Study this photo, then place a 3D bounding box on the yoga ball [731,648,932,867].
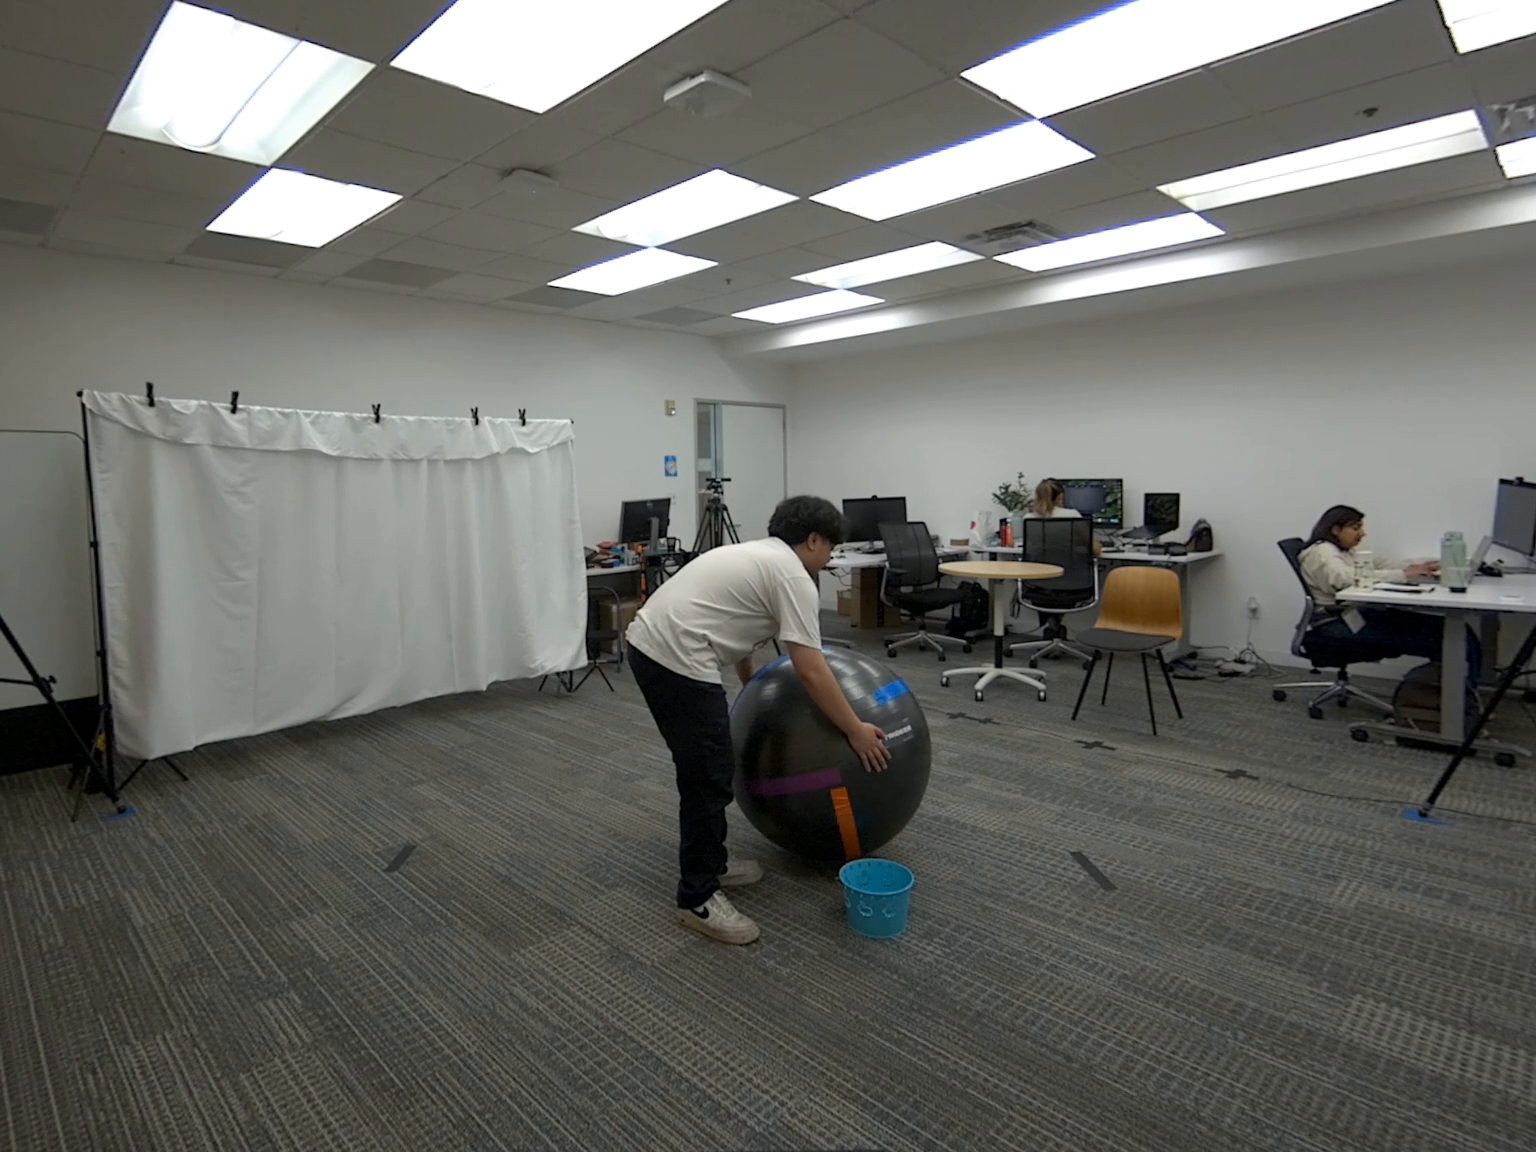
[{"bbox_3d":[0.219,0.640,3.141,0.757,0.755,0.762,-1,5,-2],"label":"yoga ball"}]
